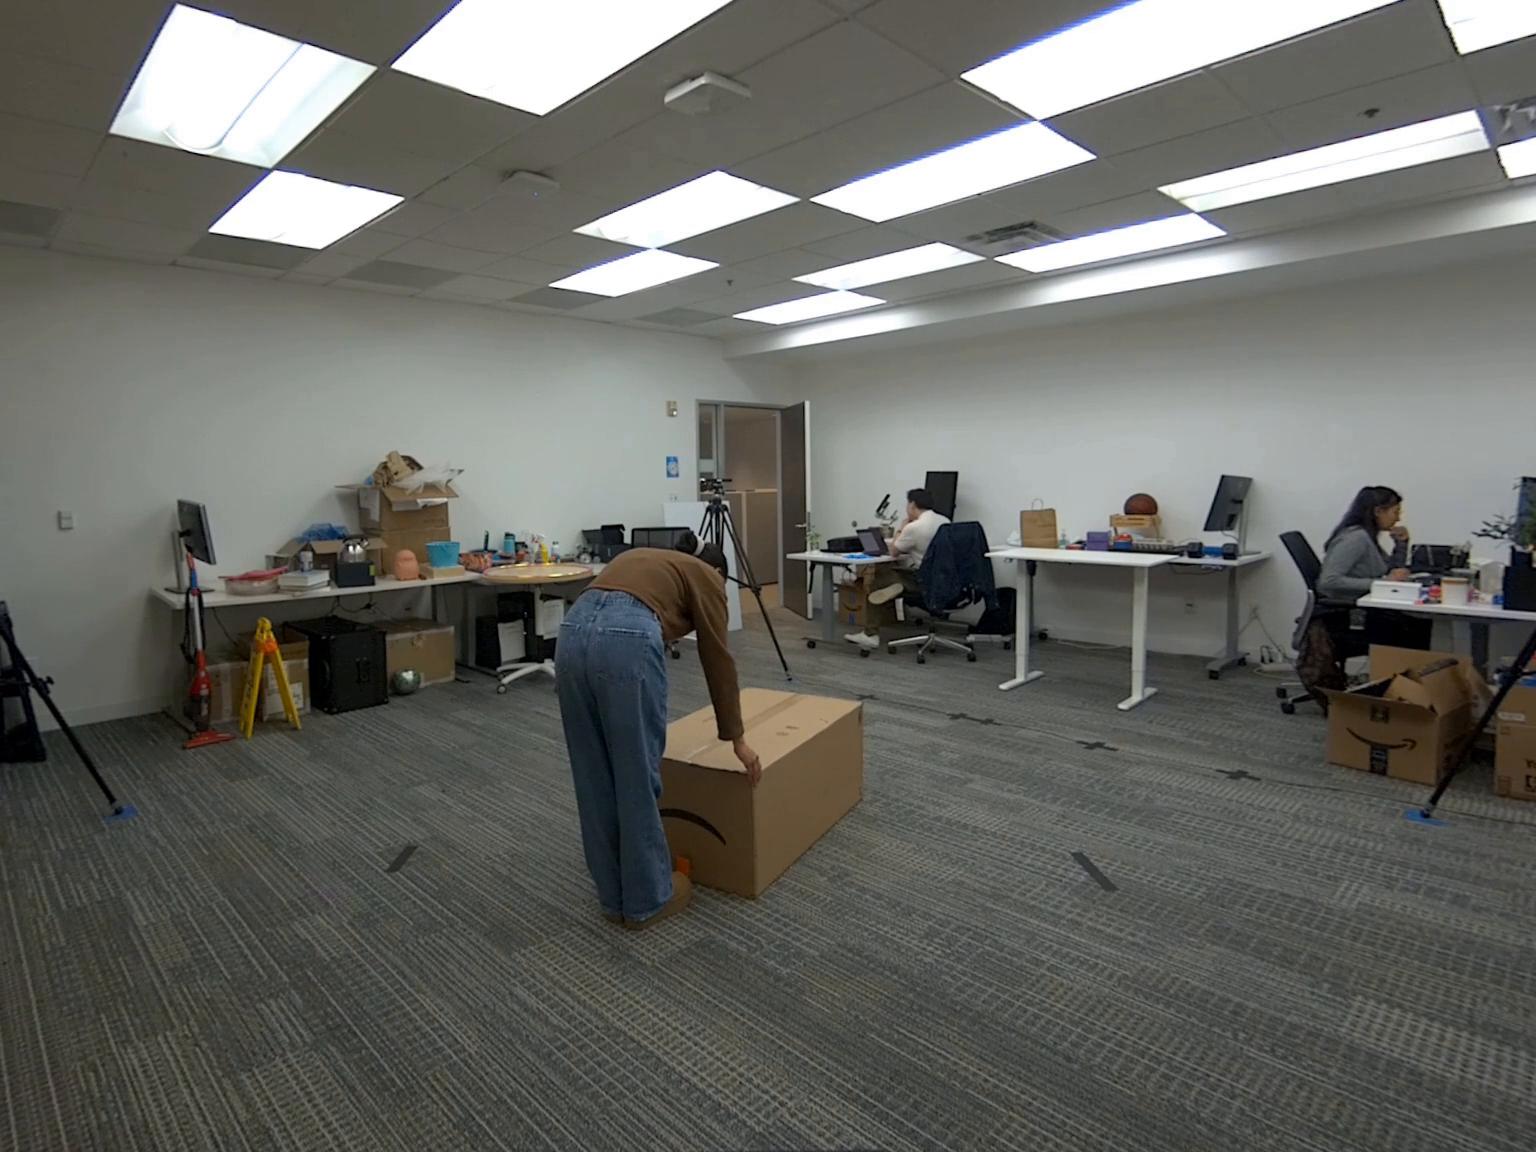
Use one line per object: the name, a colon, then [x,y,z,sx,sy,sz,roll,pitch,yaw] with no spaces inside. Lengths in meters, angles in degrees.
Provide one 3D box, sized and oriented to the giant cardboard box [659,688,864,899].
giant cardboard box: [-0.070,0.797,3.410,0.599,0.445,1.005,1,6,28]
